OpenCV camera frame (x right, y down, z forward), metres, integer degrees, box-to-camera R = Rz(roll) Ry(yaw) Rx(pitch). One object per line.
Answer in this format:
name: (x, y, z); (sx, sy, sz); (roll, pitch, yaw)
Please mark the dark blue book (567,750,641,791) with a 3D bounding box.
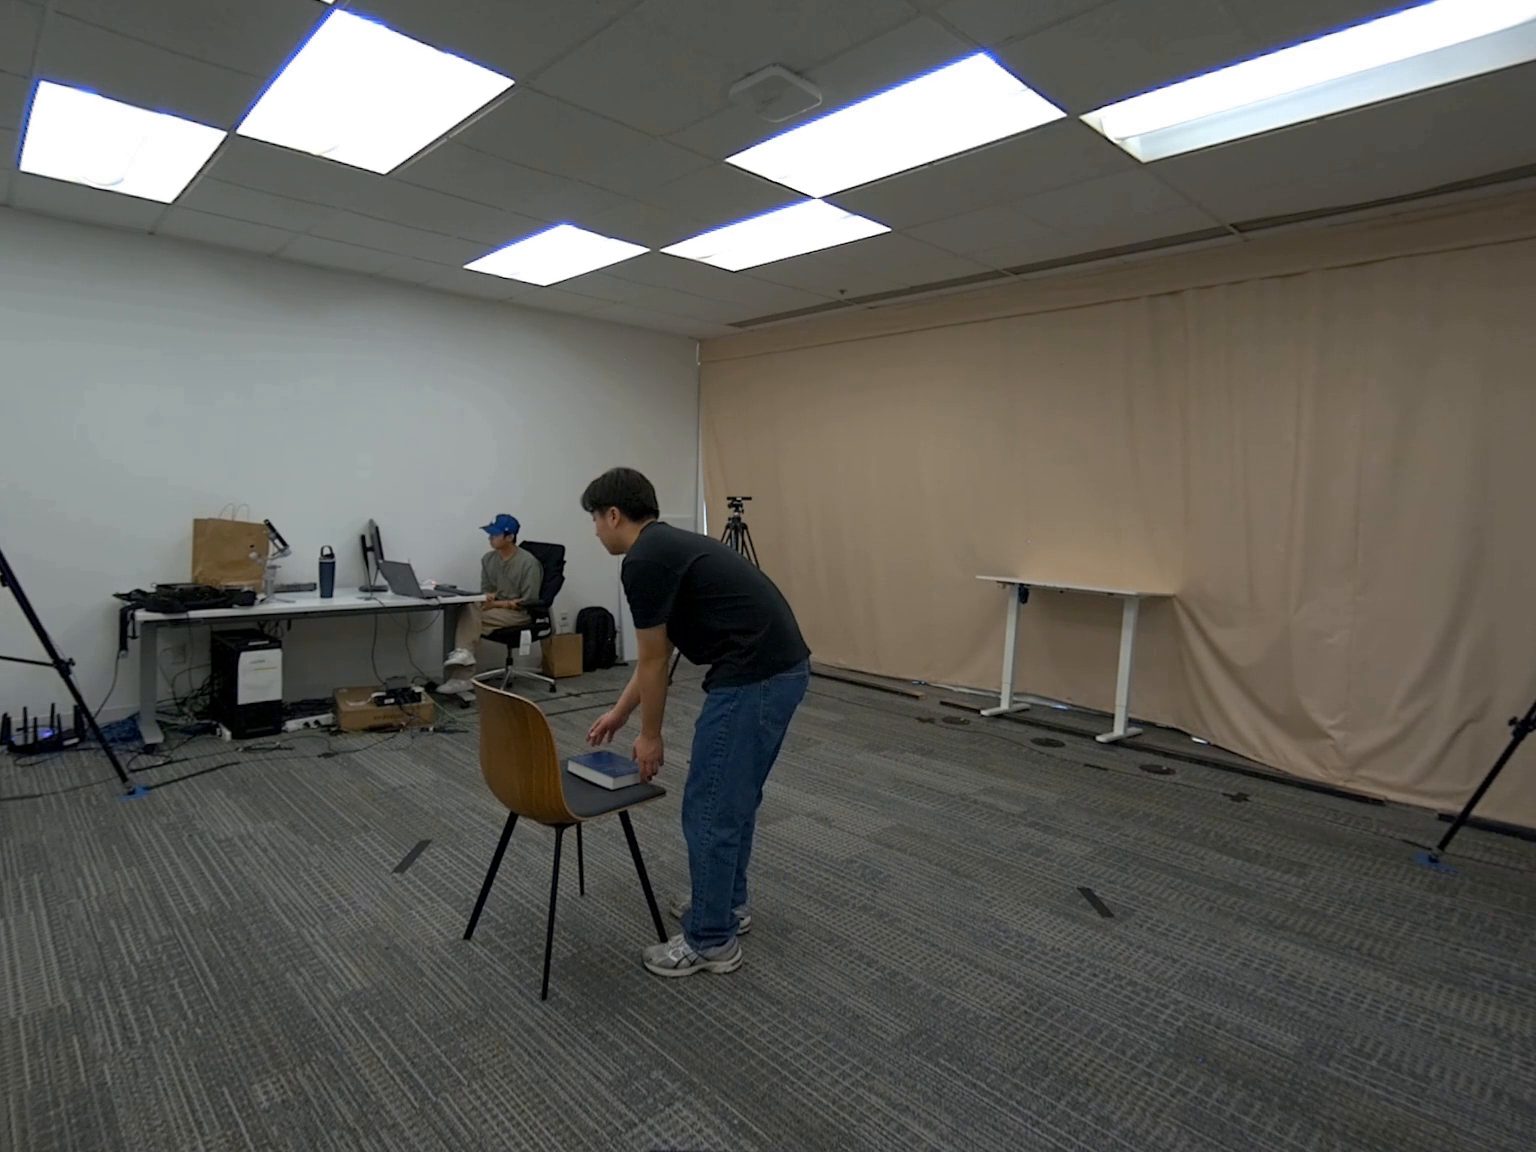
dark blue book: (-0.517, 0.627, 2.718); (0.251, 0.045, 0.159); (7, 5, 42)
